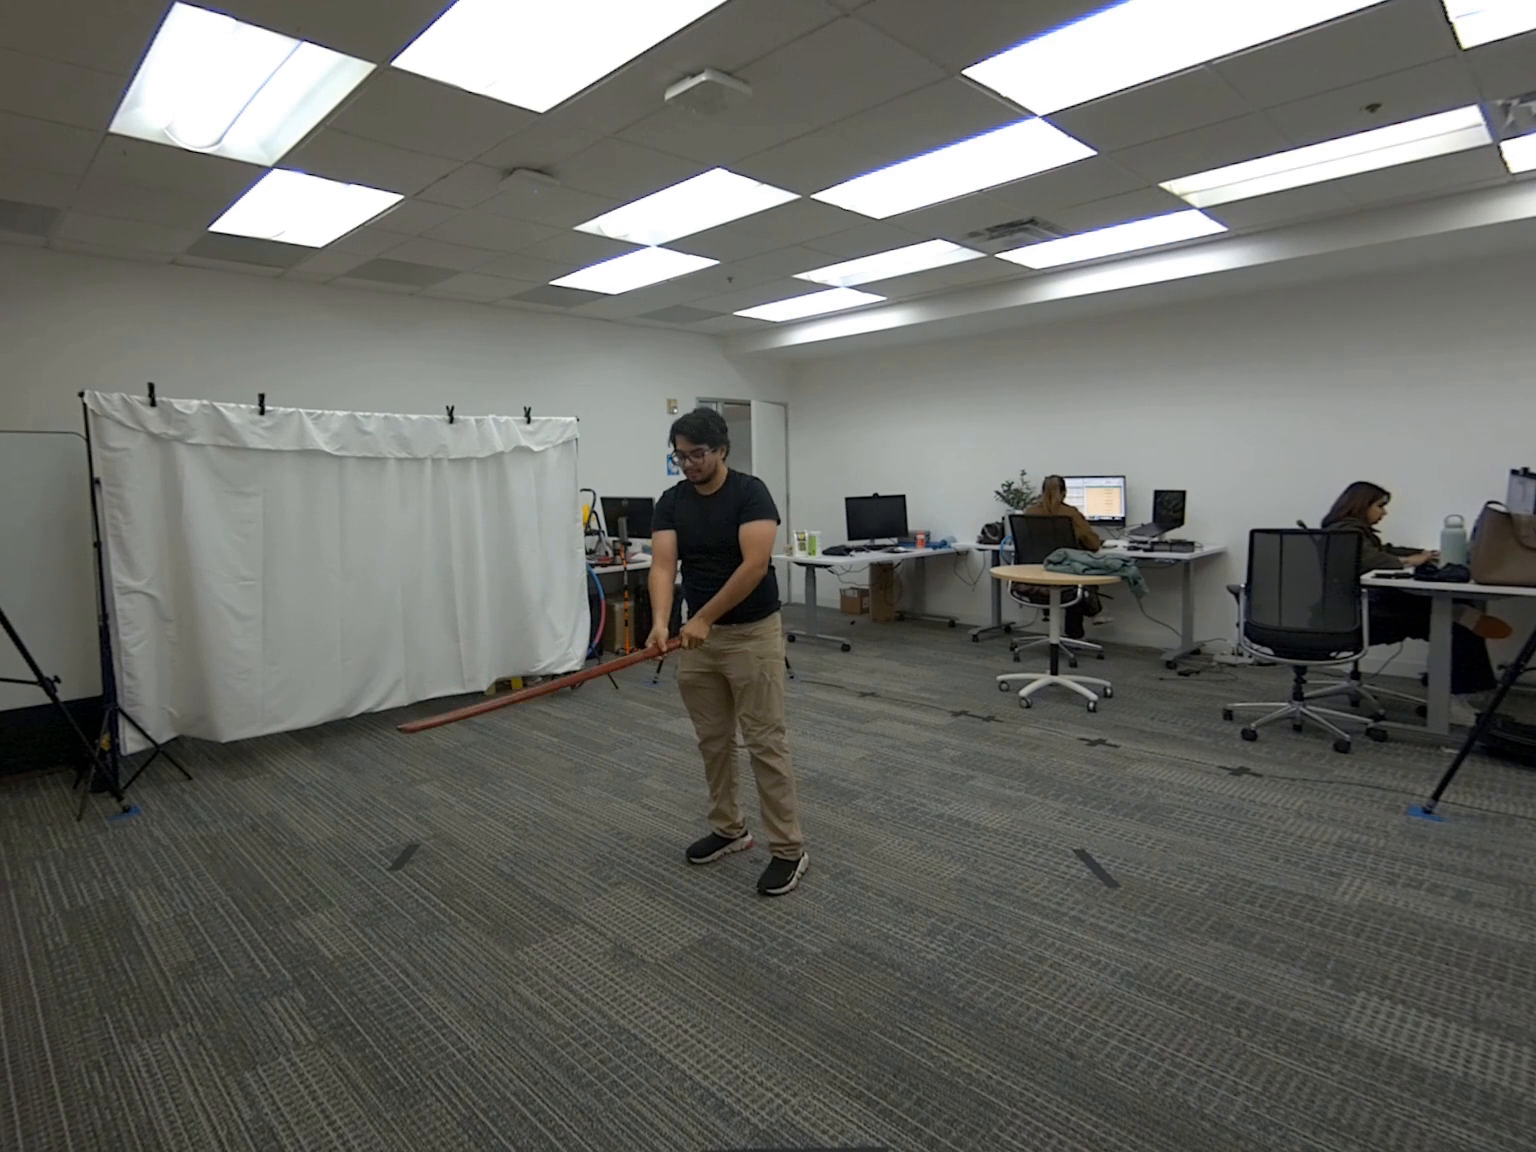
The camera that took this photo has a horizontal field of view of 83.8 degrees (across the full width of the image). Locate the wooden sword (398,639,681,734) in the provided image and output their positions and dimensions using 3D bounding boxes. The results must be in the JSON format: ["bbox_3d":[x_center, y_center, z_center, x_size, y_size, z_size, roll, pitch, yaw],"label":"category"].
[{"bbox_3d":[-0.635,0.329,2.508,1.004,0.025,0.051,-15,-33,-35],"label":"wooden sword"}]
